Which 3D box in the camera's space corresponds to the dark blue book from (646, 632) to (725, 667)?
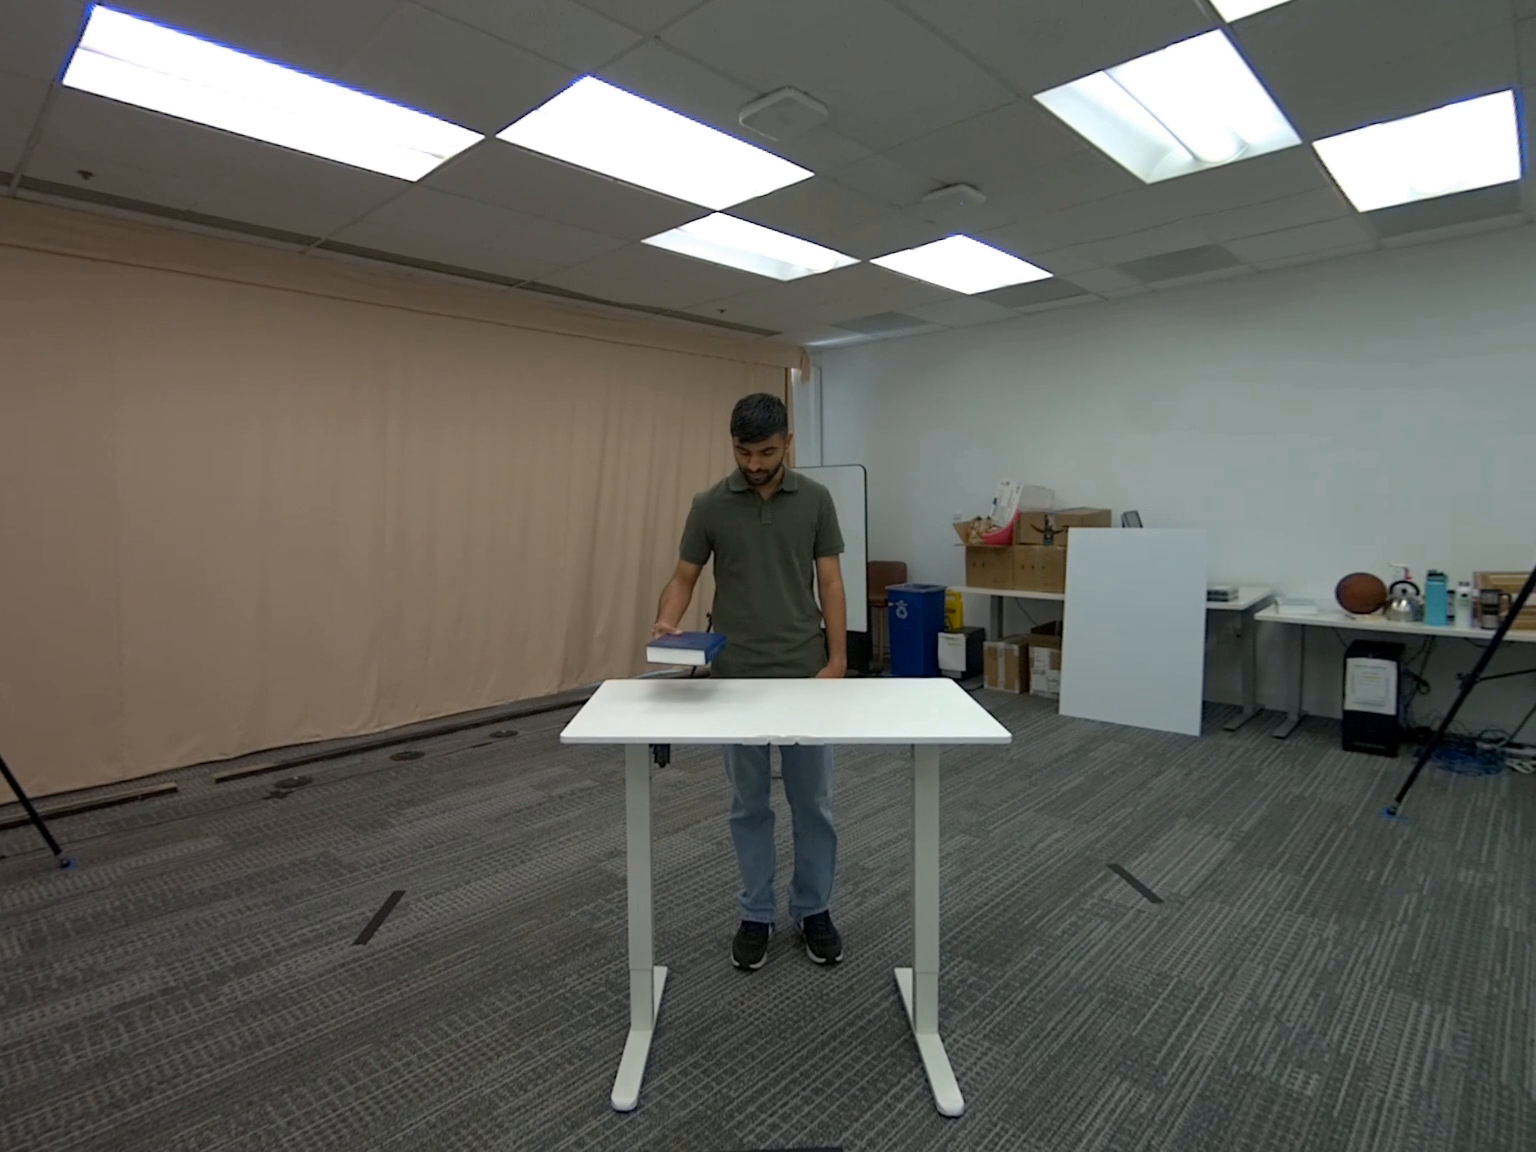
[{"bbox_3d":[-0.215,0.197,2.271,0.165,0.045,0.243,2,6,9],"label":"dark blue book"}]
